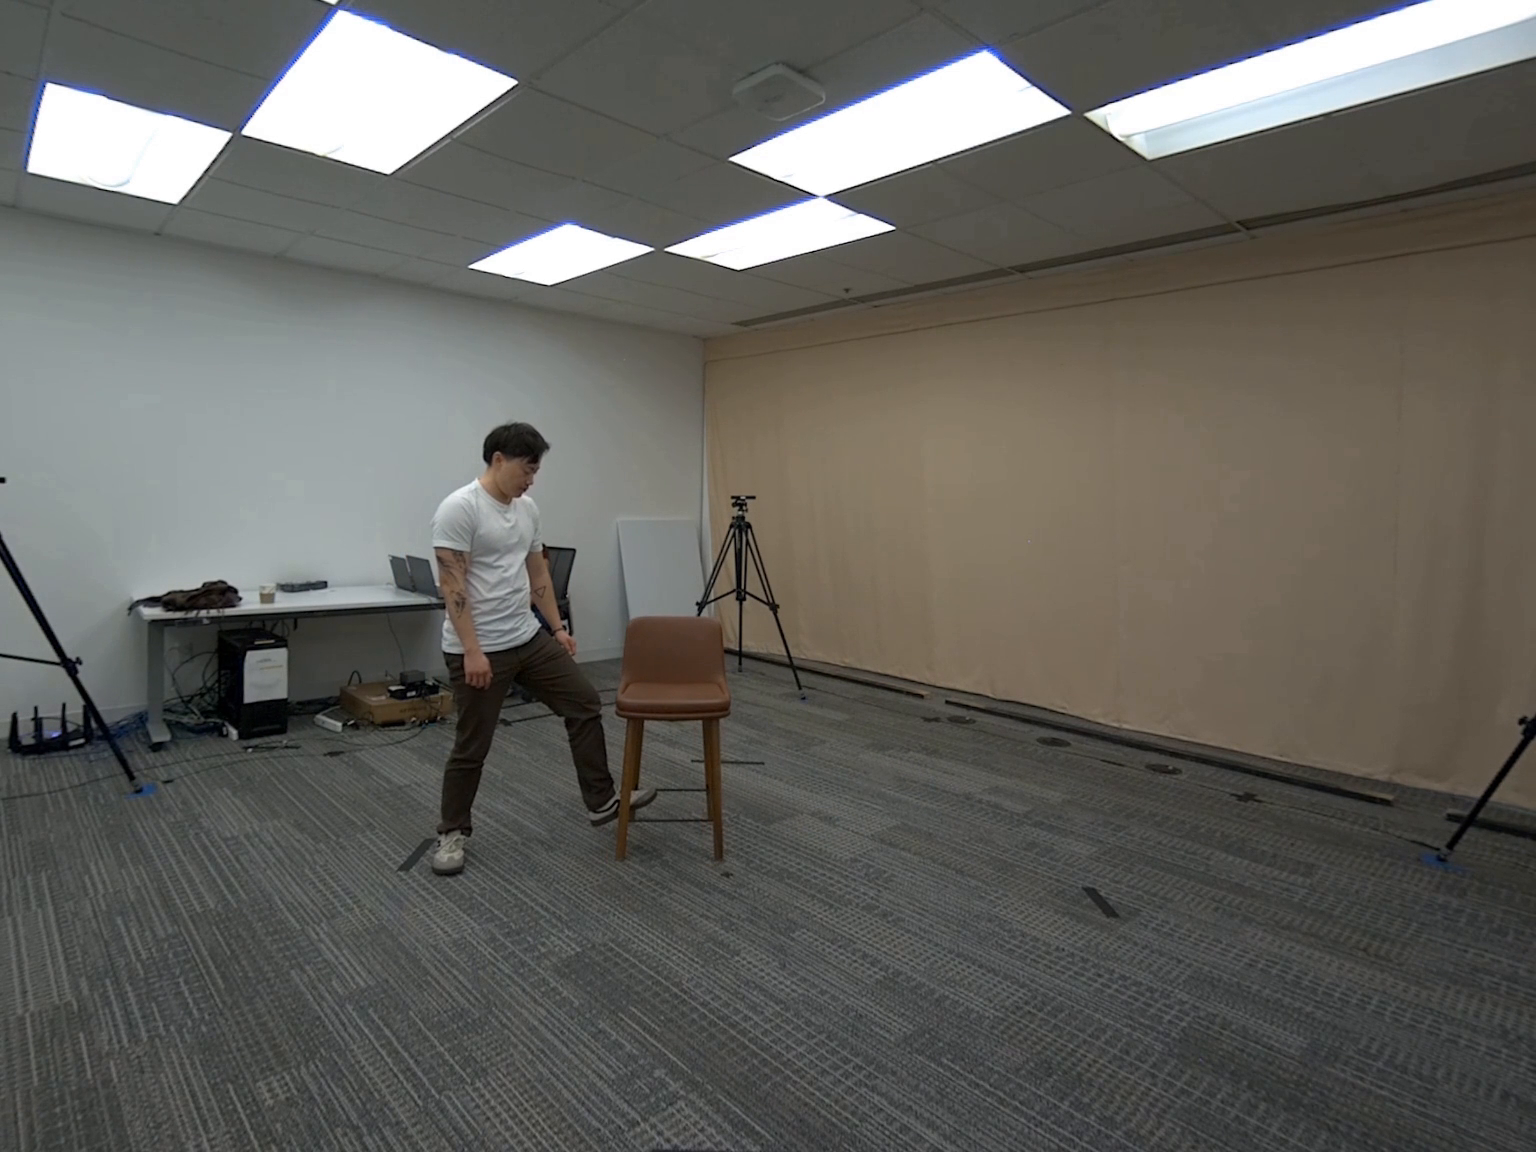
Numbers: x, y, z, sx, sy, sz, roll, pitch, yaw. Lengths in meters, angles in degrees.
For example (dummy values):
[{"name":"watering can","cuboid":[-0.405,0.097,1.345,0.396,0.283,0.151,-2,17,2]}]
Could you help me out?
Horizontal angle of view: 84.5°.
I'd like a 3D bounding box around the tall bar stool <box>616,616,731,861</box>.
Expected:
[{"name":"tall bar stool","cuboid":[-0.391,0.634,3.415,0.455,0.889,0.469,2,2,-3]}]
